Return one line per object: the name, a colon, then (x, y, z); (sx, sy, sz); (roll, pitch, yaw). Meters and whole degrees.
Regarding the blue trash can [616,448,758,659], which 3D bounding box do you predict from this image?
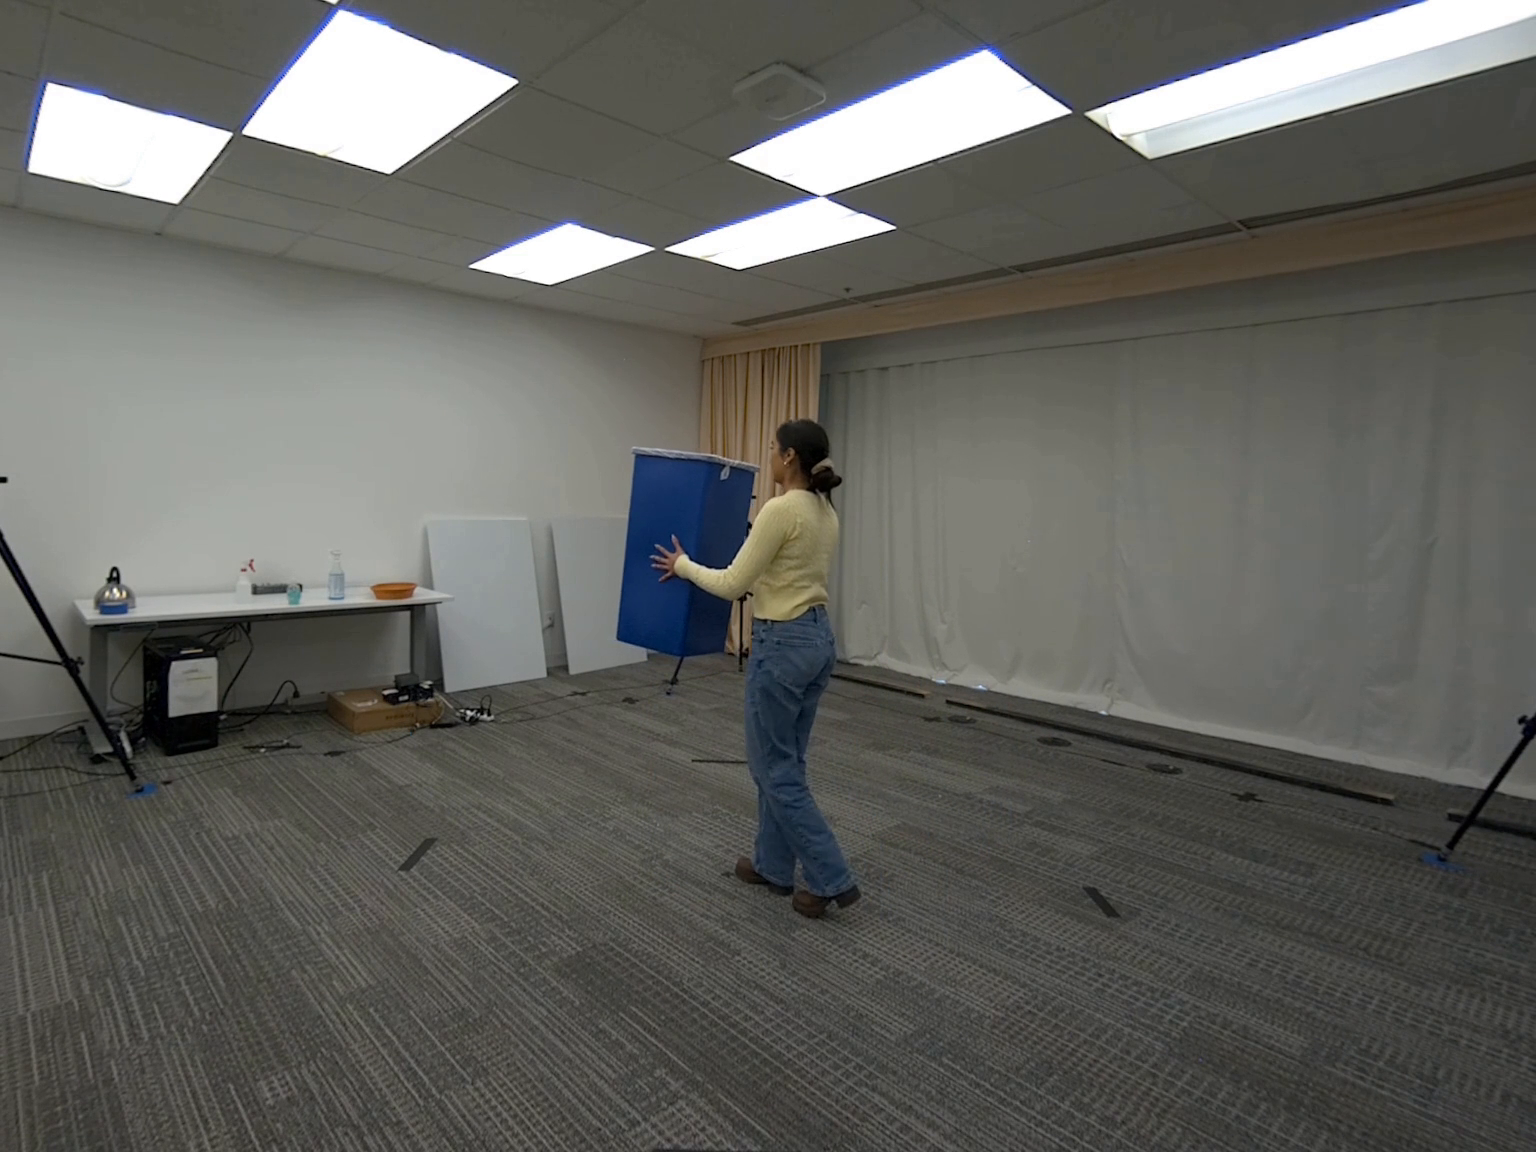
blue trash can: (-0.323, -0.089, 3.133); (0.383, 0.712, 0.370); (10, 3, 29)
